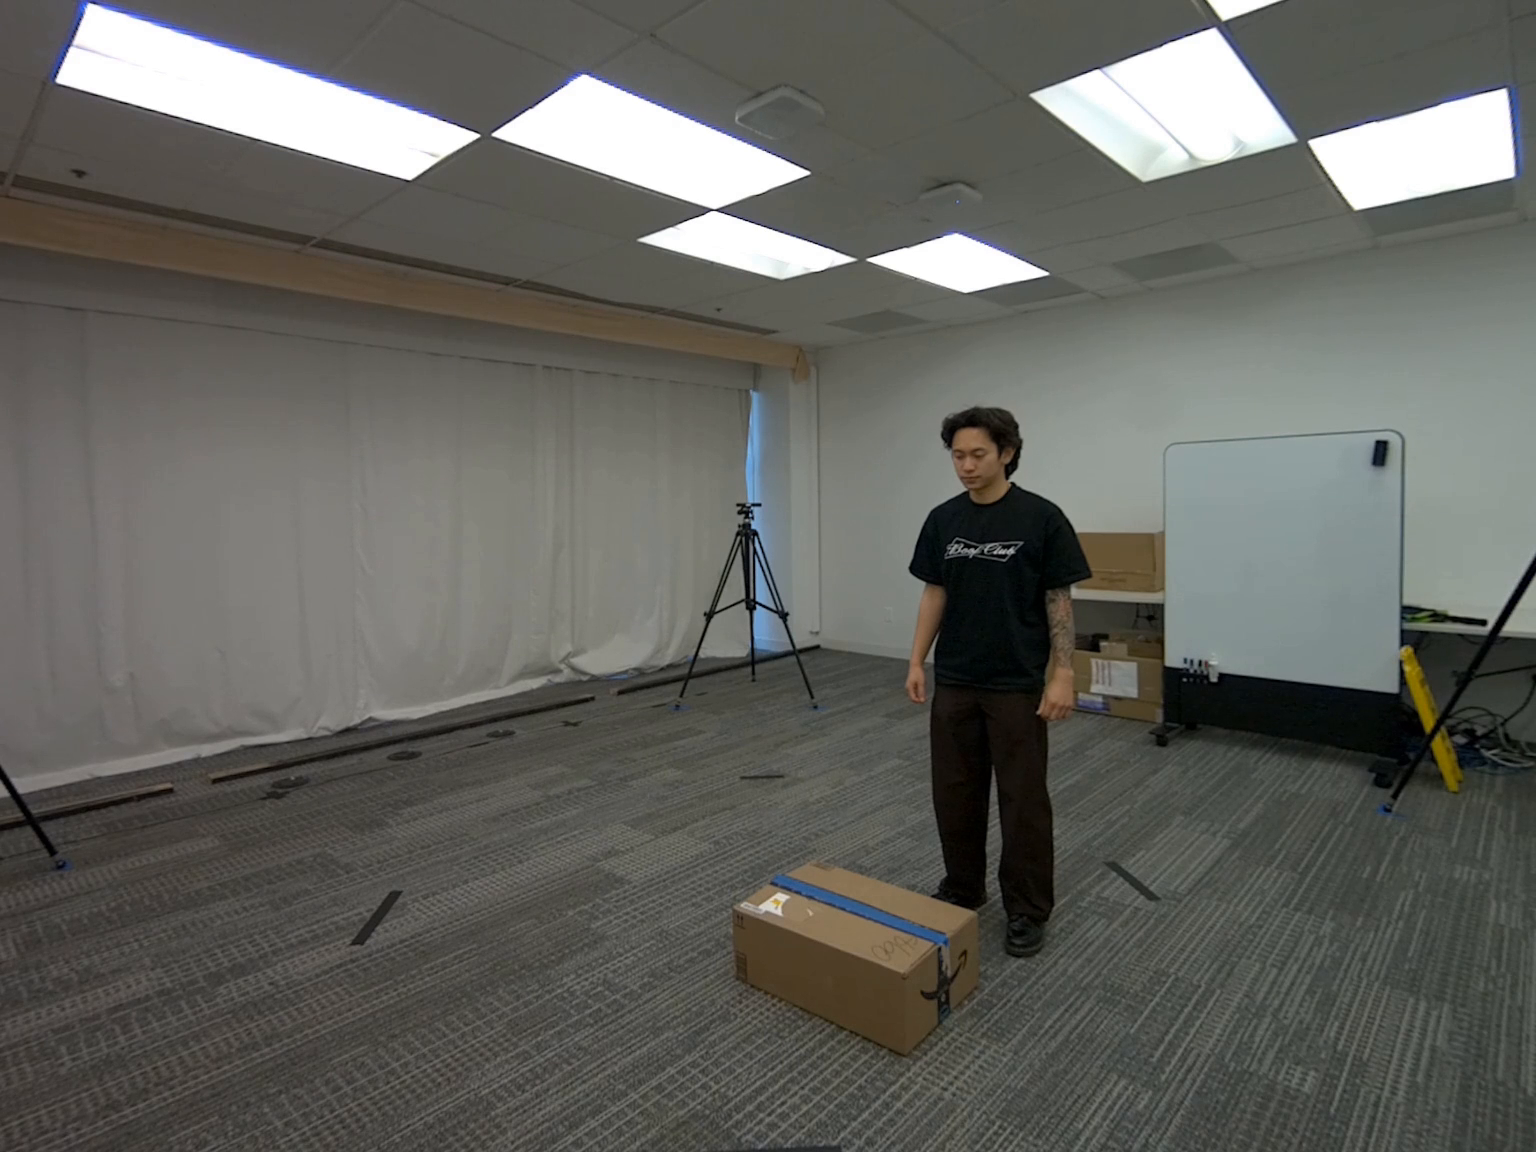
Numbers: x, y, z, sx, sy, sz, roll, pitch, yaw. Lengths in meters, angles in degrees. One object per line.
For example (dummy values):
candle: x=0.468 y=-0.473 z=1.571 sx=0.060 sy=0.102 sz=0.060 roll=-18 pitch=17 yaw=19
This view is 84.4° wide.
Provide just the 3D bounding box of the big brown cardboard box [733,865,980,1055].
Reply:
big brown cardboard box: x=0.250 y=1.065 z=2.442 sx=0.608 sy=0.232 sz=0.405 roll=5 pitch=7 yaw=39
